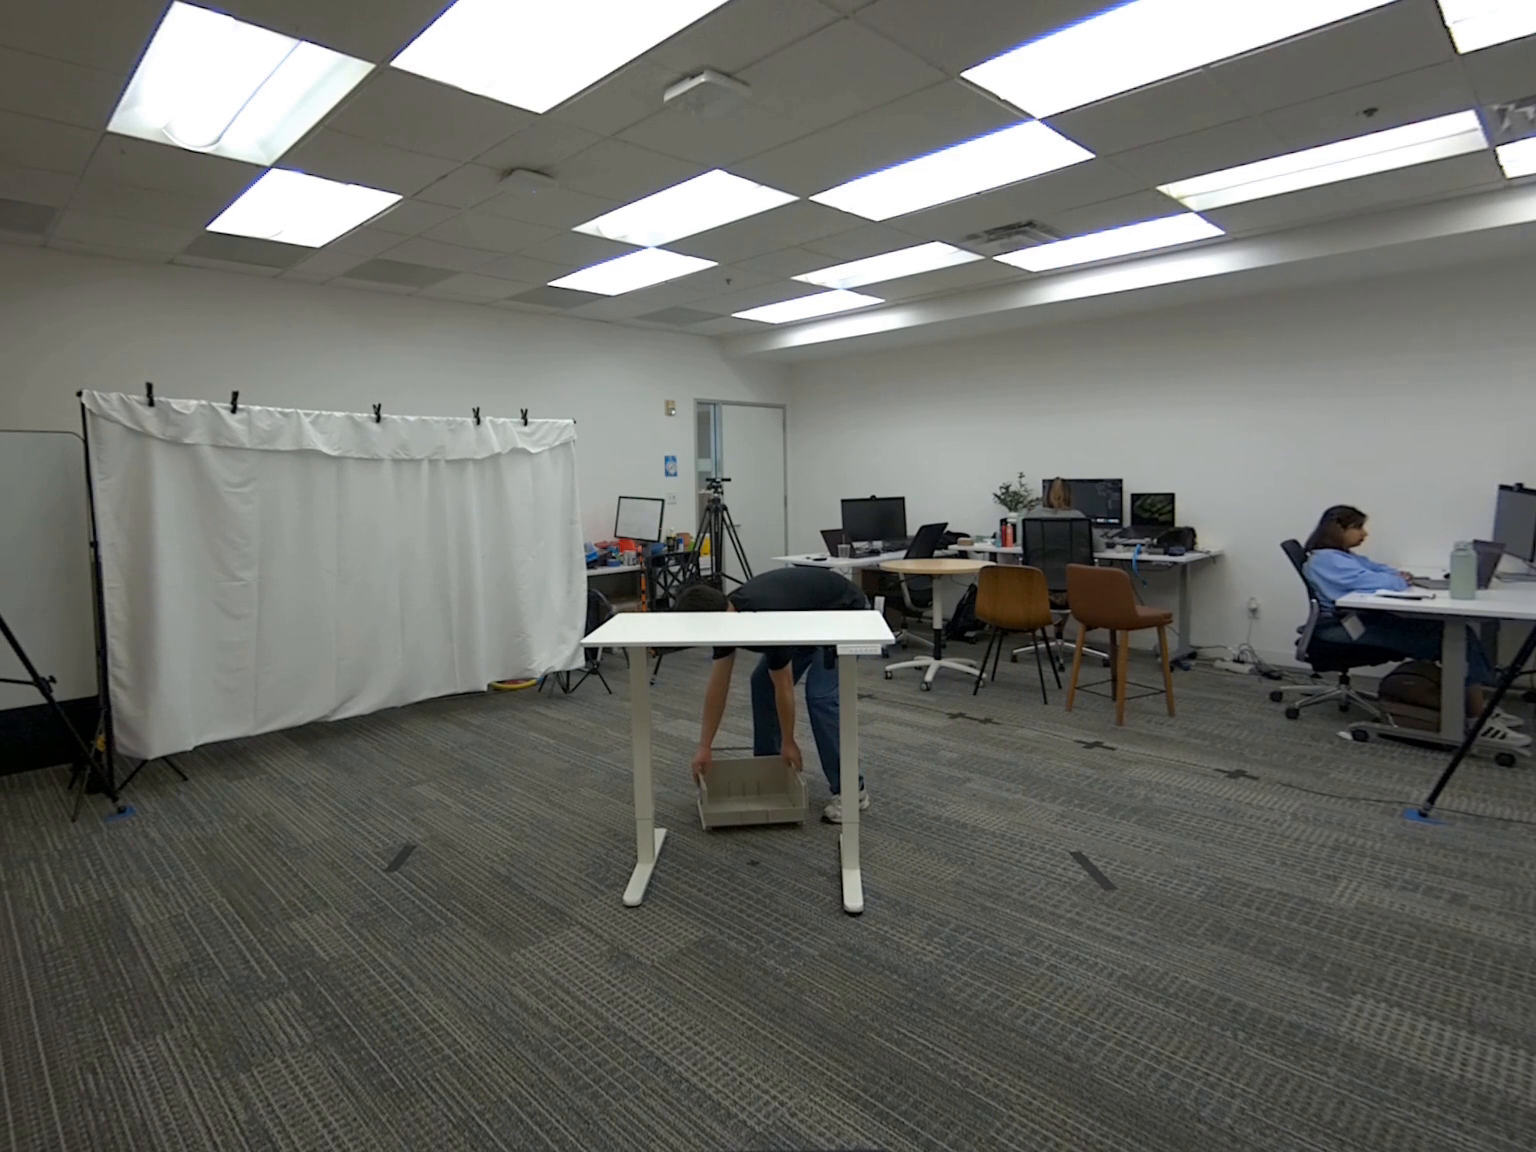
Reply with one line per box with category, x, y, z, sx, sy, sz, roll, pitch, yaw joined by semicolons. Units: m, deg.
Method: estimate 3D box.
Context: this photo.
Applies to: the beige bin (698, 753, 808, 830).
beige bin;-0.079;0.906;3.545;0.420;0.188;0.381;-2;6;-7
